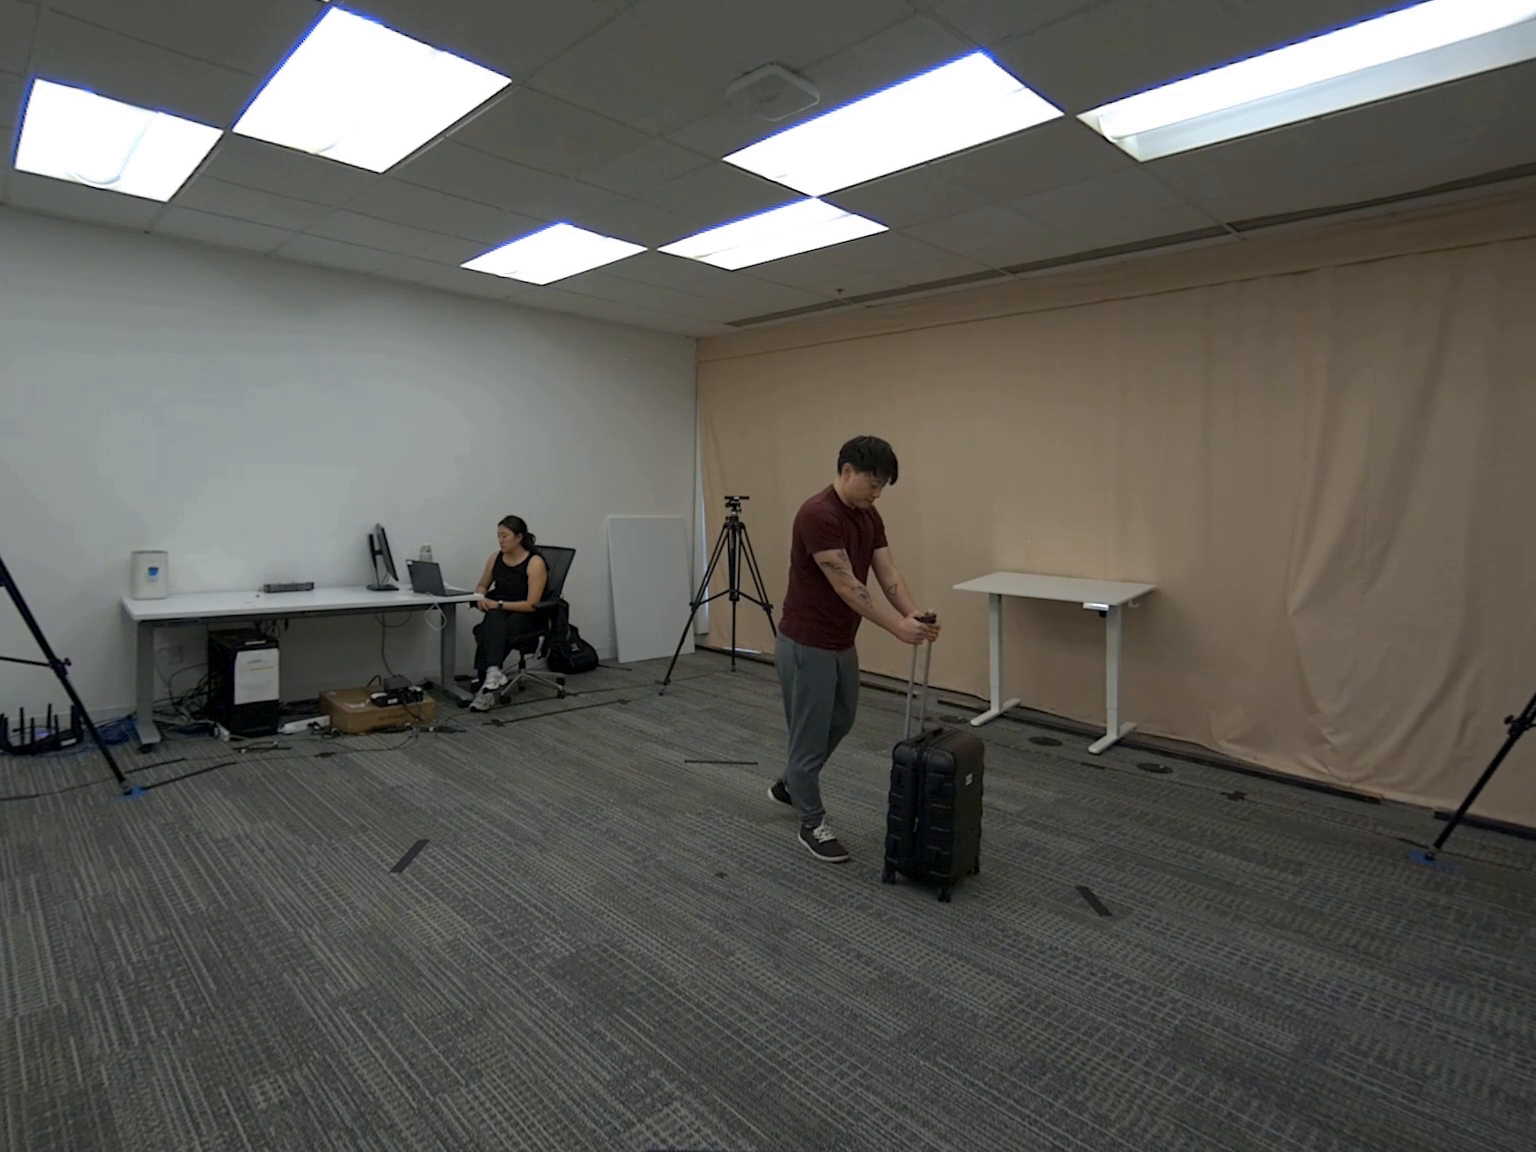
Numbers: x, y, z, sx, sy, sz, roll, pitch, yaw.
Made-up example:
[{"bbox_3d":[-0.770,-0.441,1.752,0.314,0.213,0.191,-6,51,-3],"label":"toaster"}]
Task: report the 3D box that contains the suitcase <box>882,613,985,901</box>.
[{"bbox_3d":[0.627,0.648,3.075,0.263,0.975,0.376,7,7,35],"label":"suitcase"}]
